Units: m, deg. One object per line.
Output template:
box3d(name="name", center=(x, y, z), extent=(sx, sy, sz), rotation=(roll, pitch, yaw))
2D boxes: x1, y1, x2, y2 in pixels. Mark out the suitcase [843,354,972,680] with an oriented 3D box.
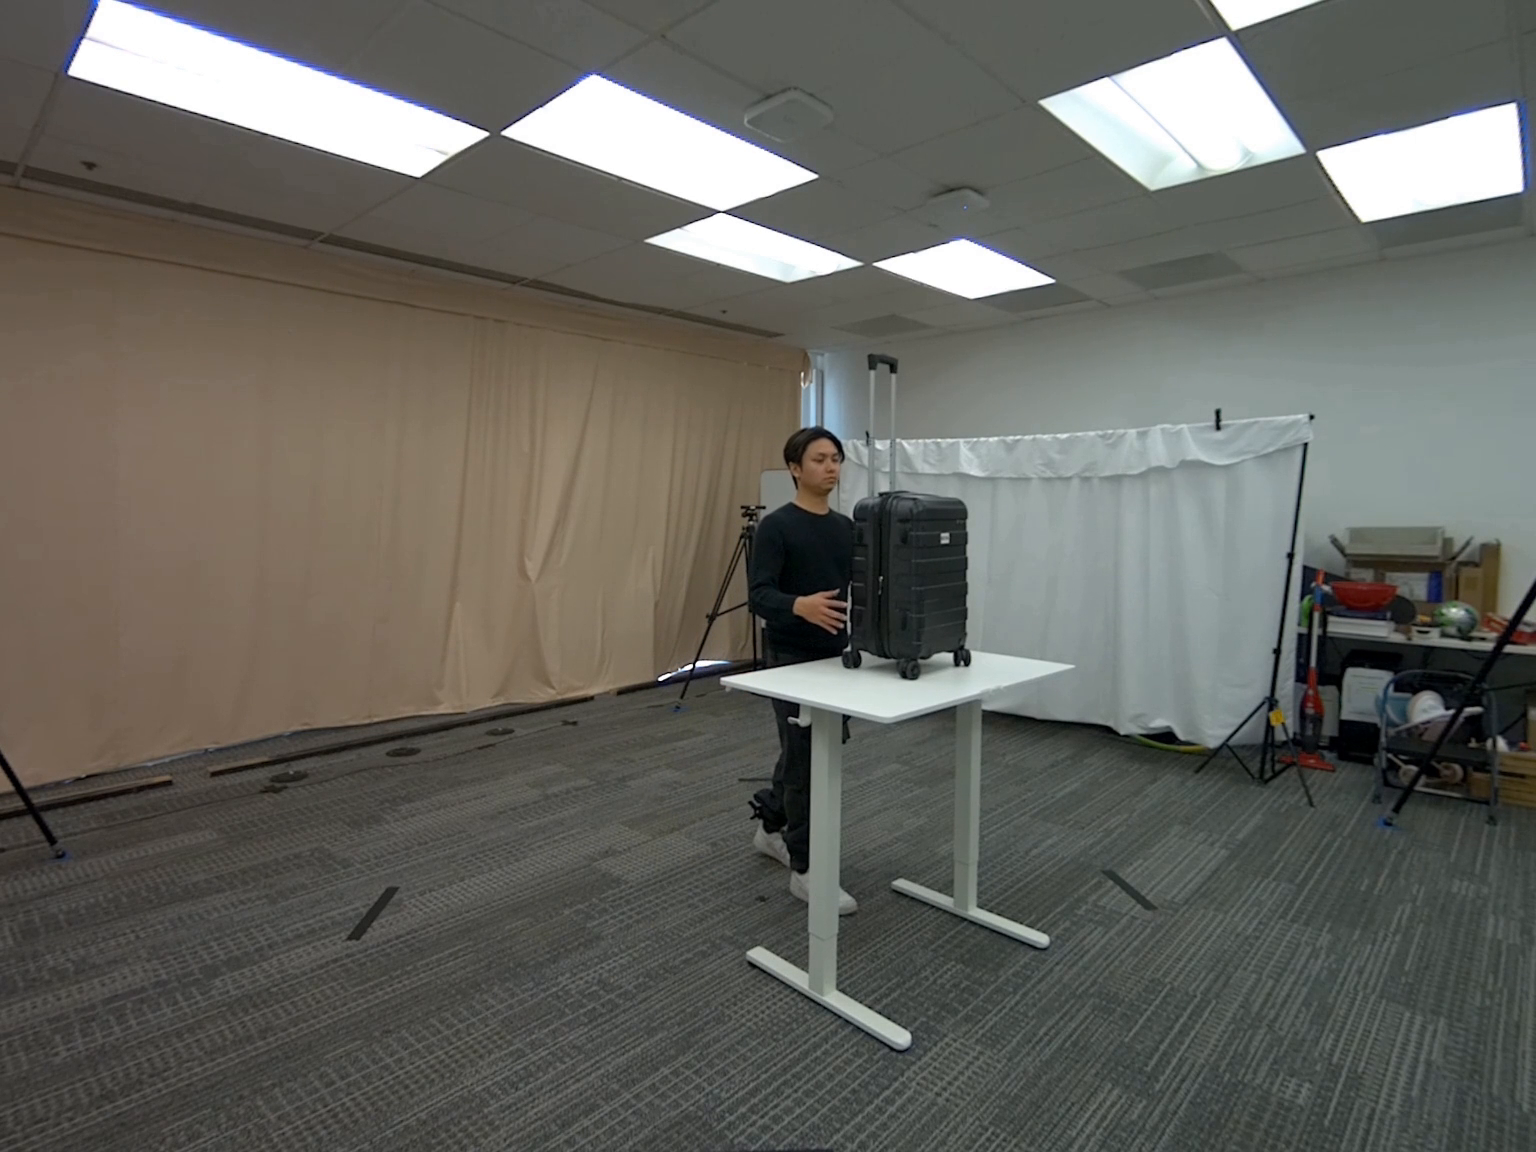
box3d(name="suitcase", center=(0.464, -0.194, 2.624), extent=(0.266, 0.976, 0.372), rotation=(4, 5, 41))
